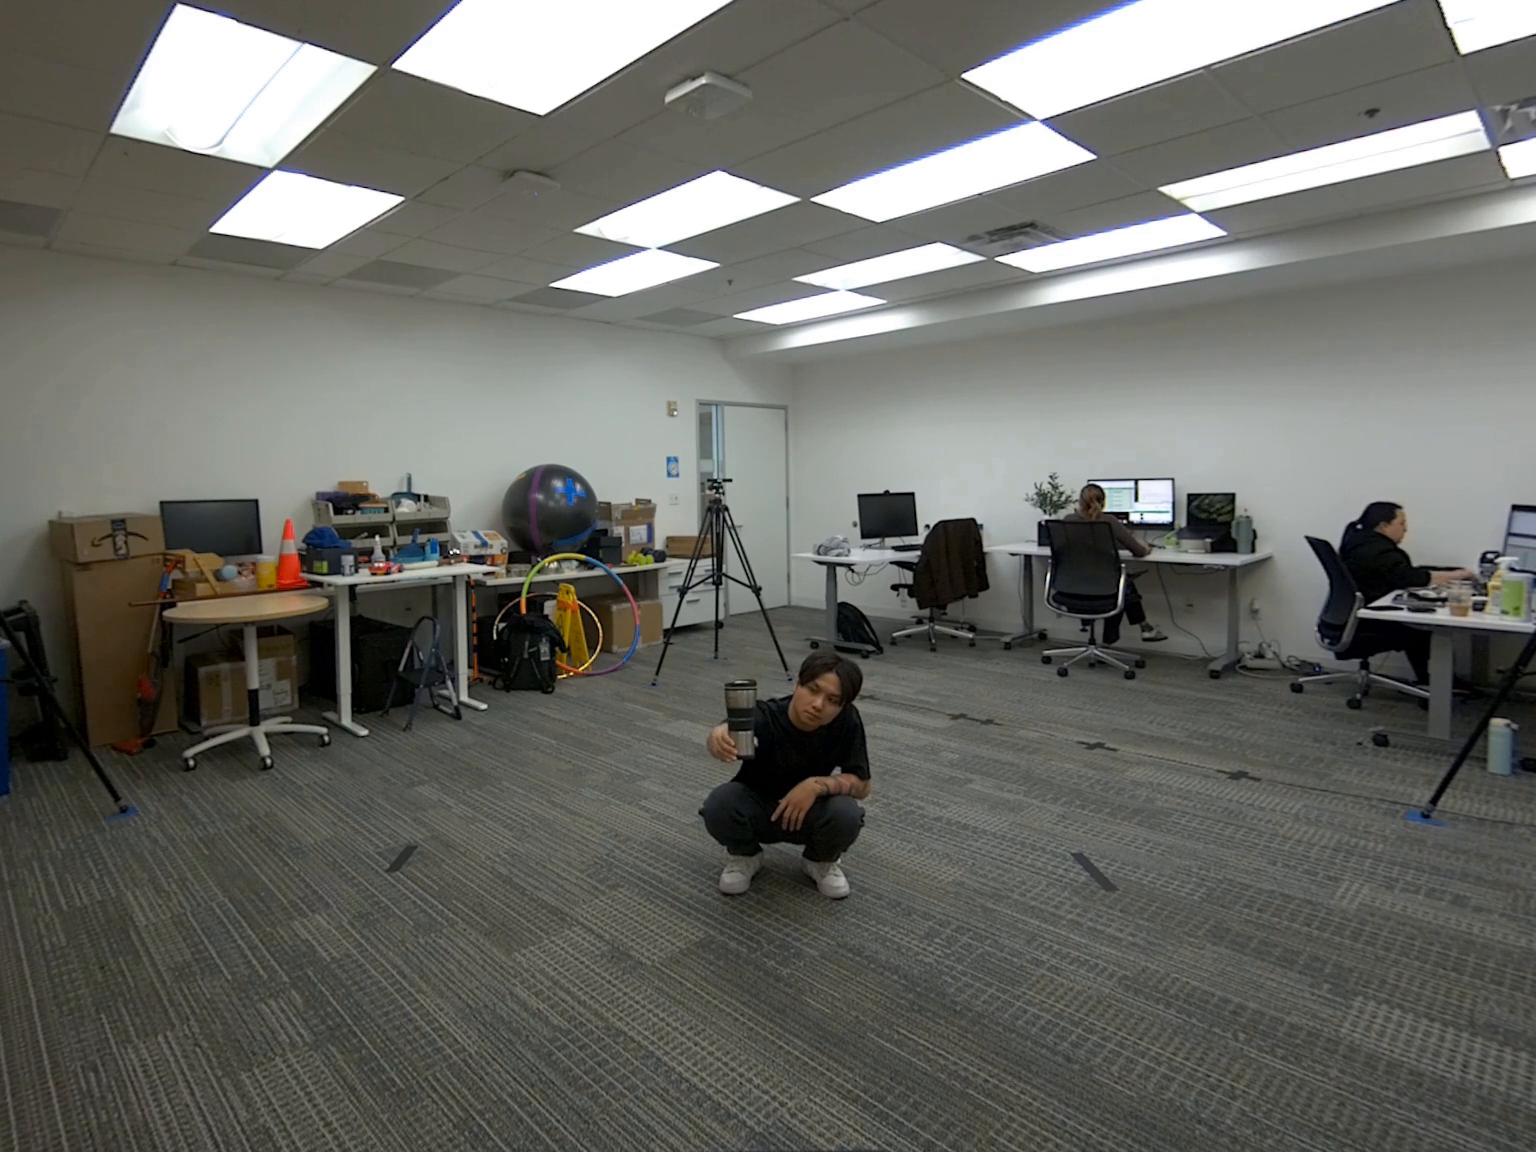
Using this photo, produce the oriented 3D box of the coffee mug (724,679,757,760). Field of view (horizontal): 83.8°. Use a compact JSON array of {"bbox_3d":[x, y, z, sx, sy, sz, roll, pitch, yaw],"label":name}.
[{"bbox_3d":[-0.047,0.399,2.266,0.090,0.205,0.118,-13,-12,42],"label":"coffee mug"}]
